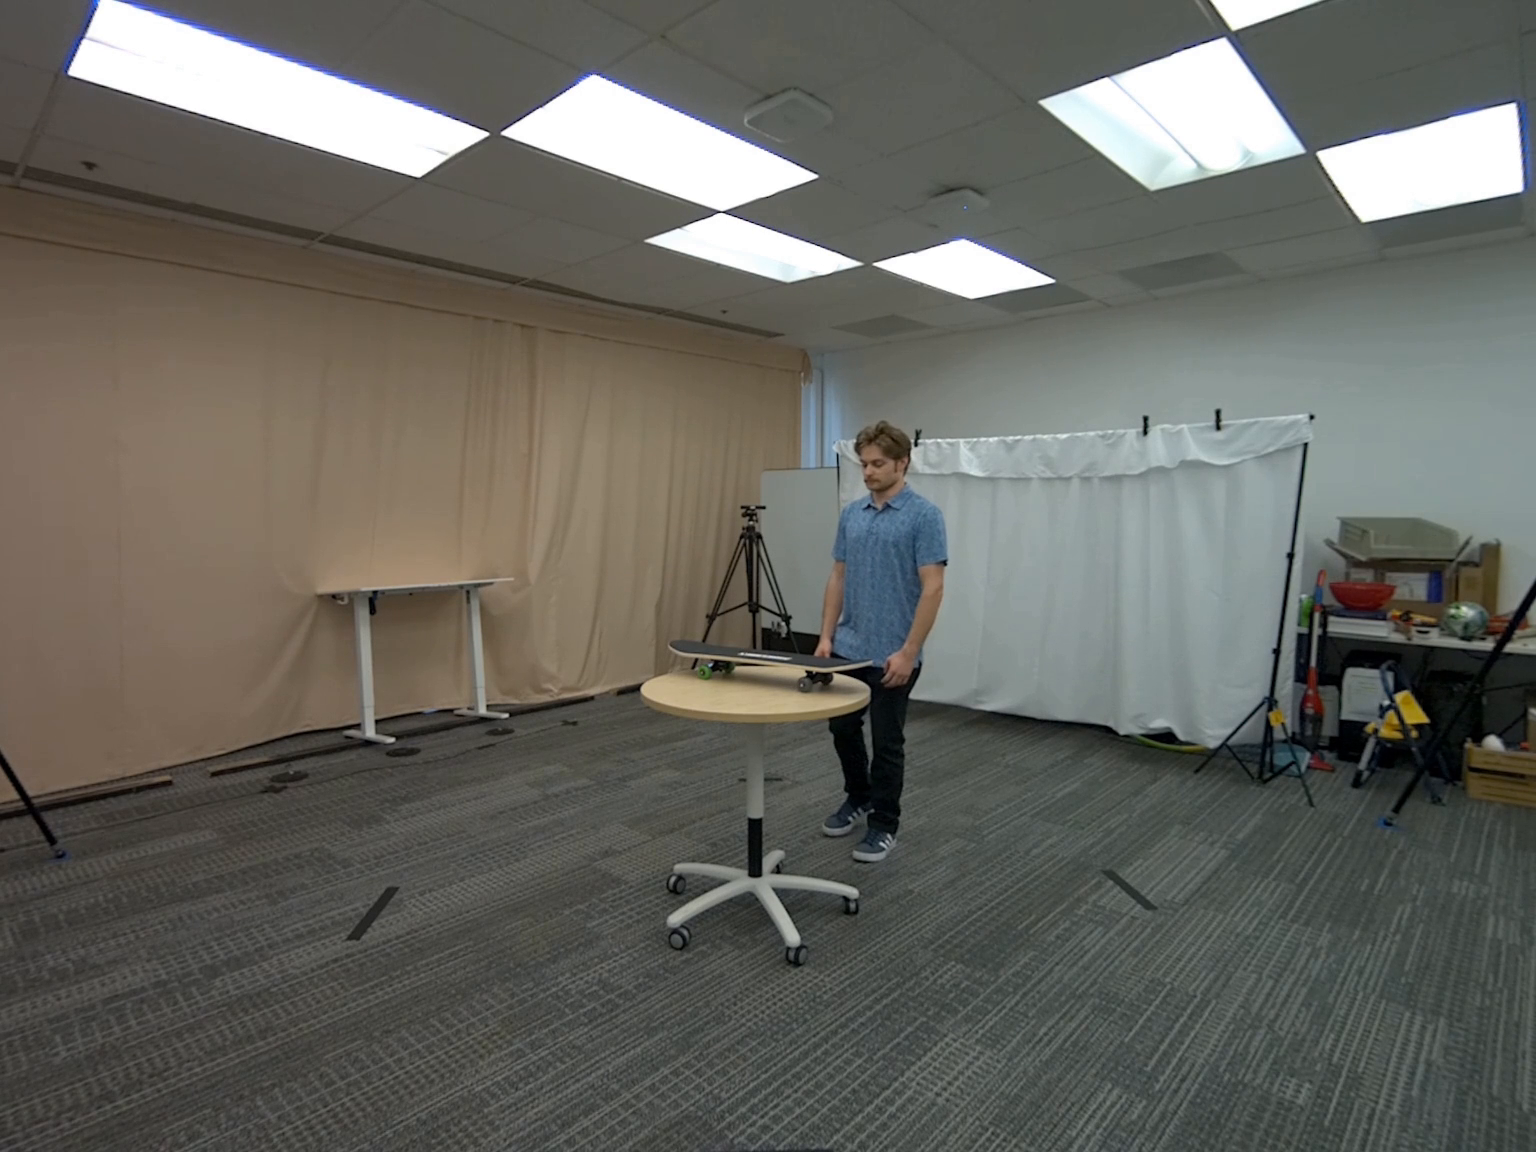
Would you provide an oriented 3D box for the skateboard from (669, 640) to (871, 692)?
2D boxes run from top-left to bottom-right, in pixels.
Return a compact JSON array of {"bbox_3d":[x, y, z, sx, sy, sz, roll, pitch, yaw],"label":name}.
[{"bbox_3d":[-0.010,0.319,2.909,0.809,0.110,0.188,4,5,32],"label":"skateboard"}]
